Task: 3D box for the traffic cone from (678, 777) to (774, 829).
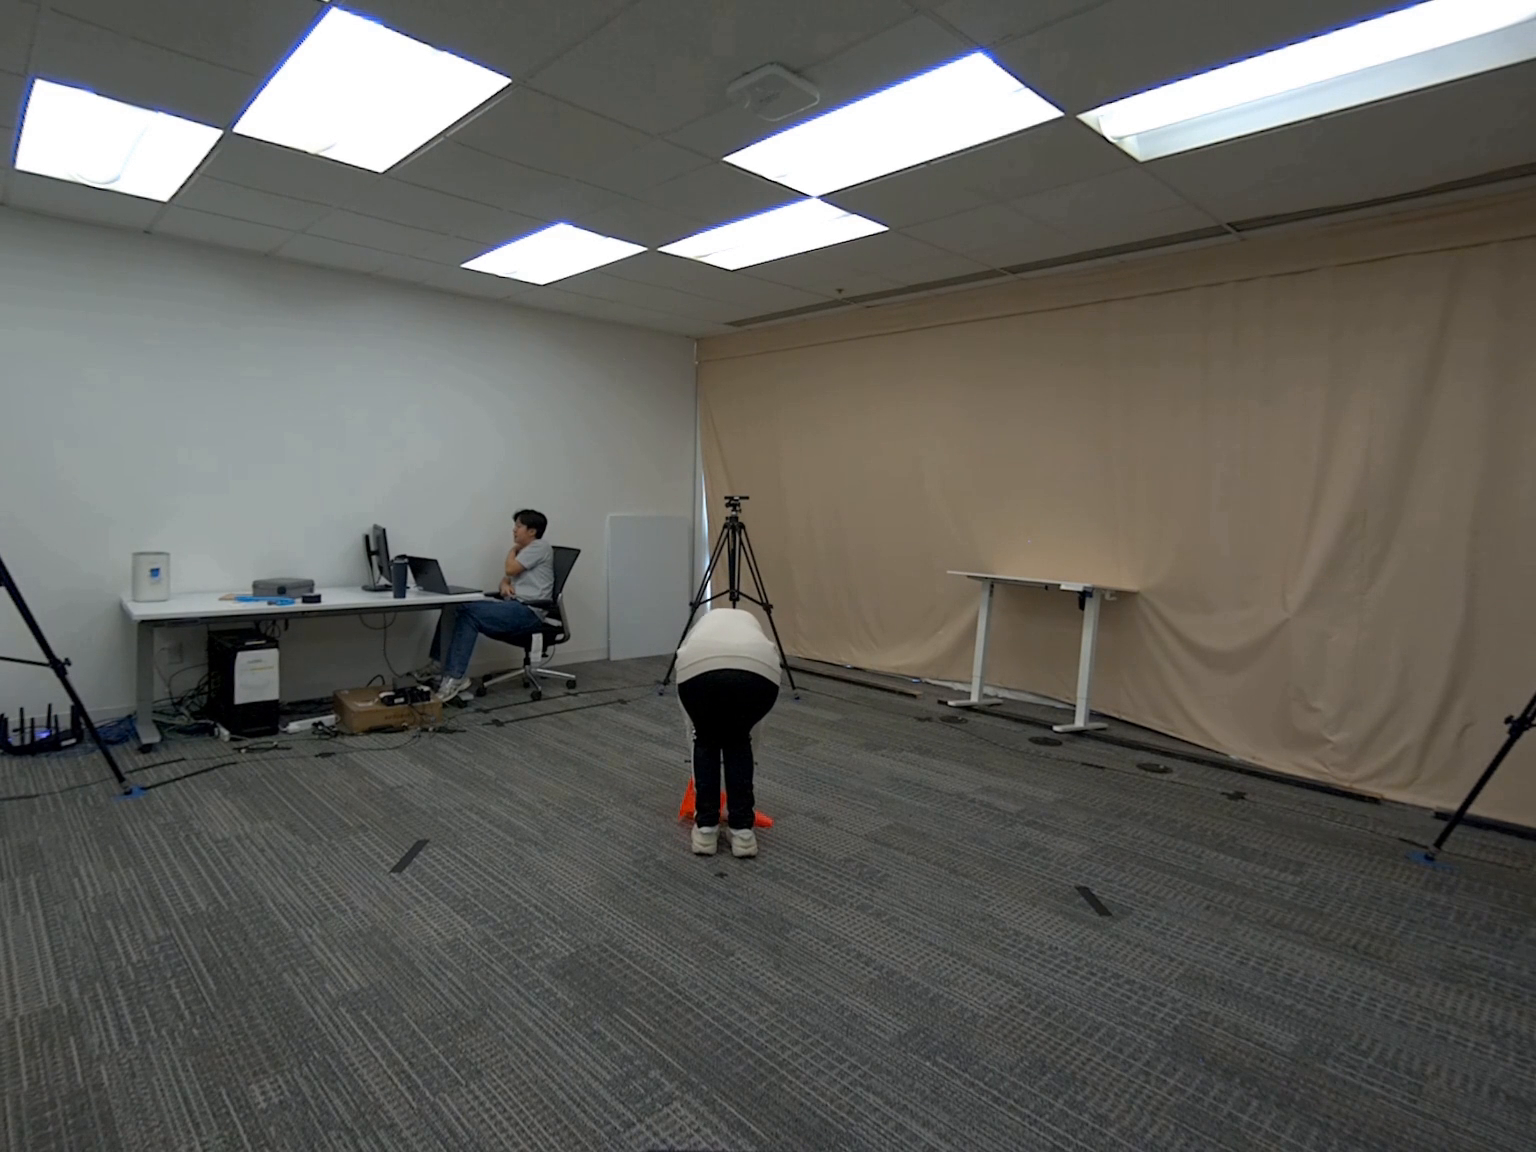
[{"bbox_3d":[-0.169,1.003,3.635,0.387,0.205,0.201,18,-1,9],"label":"traffic cone"}]
